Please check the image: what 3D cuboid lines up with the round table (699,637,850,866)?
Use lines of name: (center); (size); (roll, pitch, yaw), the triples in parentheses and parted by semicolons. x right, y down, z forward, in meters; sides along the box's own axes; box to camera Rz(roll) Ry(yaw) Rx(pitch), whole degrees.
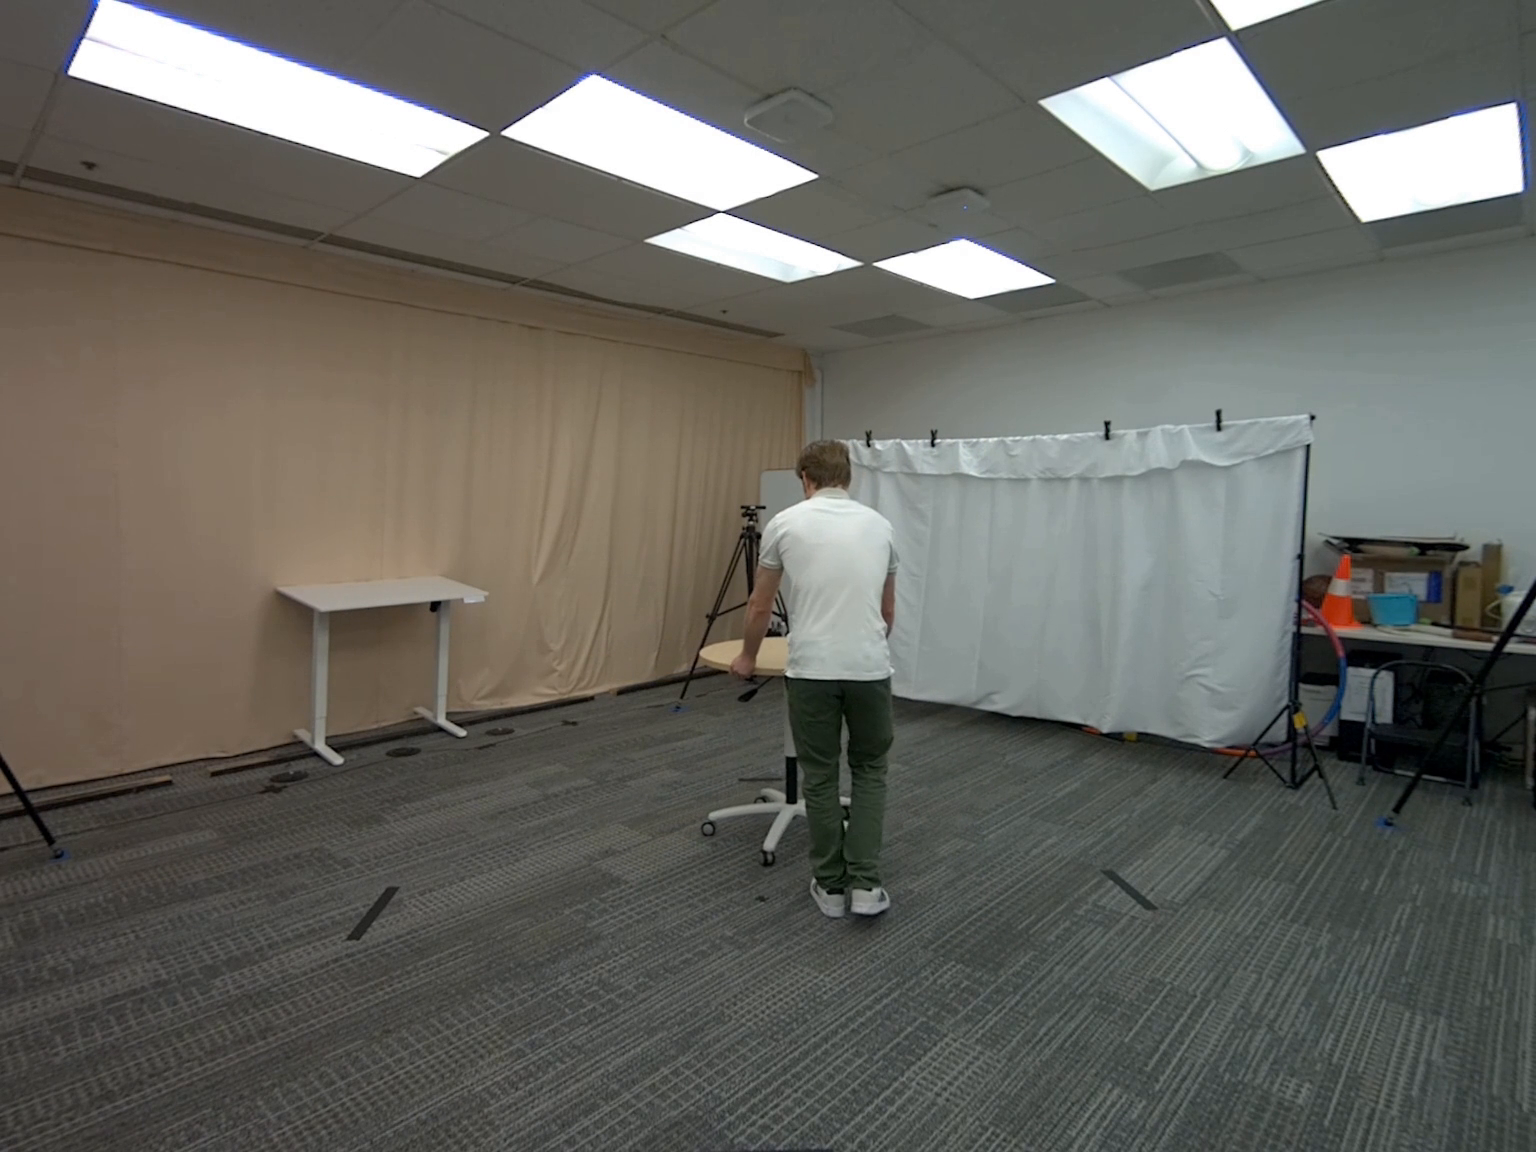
round table: (0.102, 0.702, 3.526); (0.784, 0.785, 0.788); (-1, 4, -2)
